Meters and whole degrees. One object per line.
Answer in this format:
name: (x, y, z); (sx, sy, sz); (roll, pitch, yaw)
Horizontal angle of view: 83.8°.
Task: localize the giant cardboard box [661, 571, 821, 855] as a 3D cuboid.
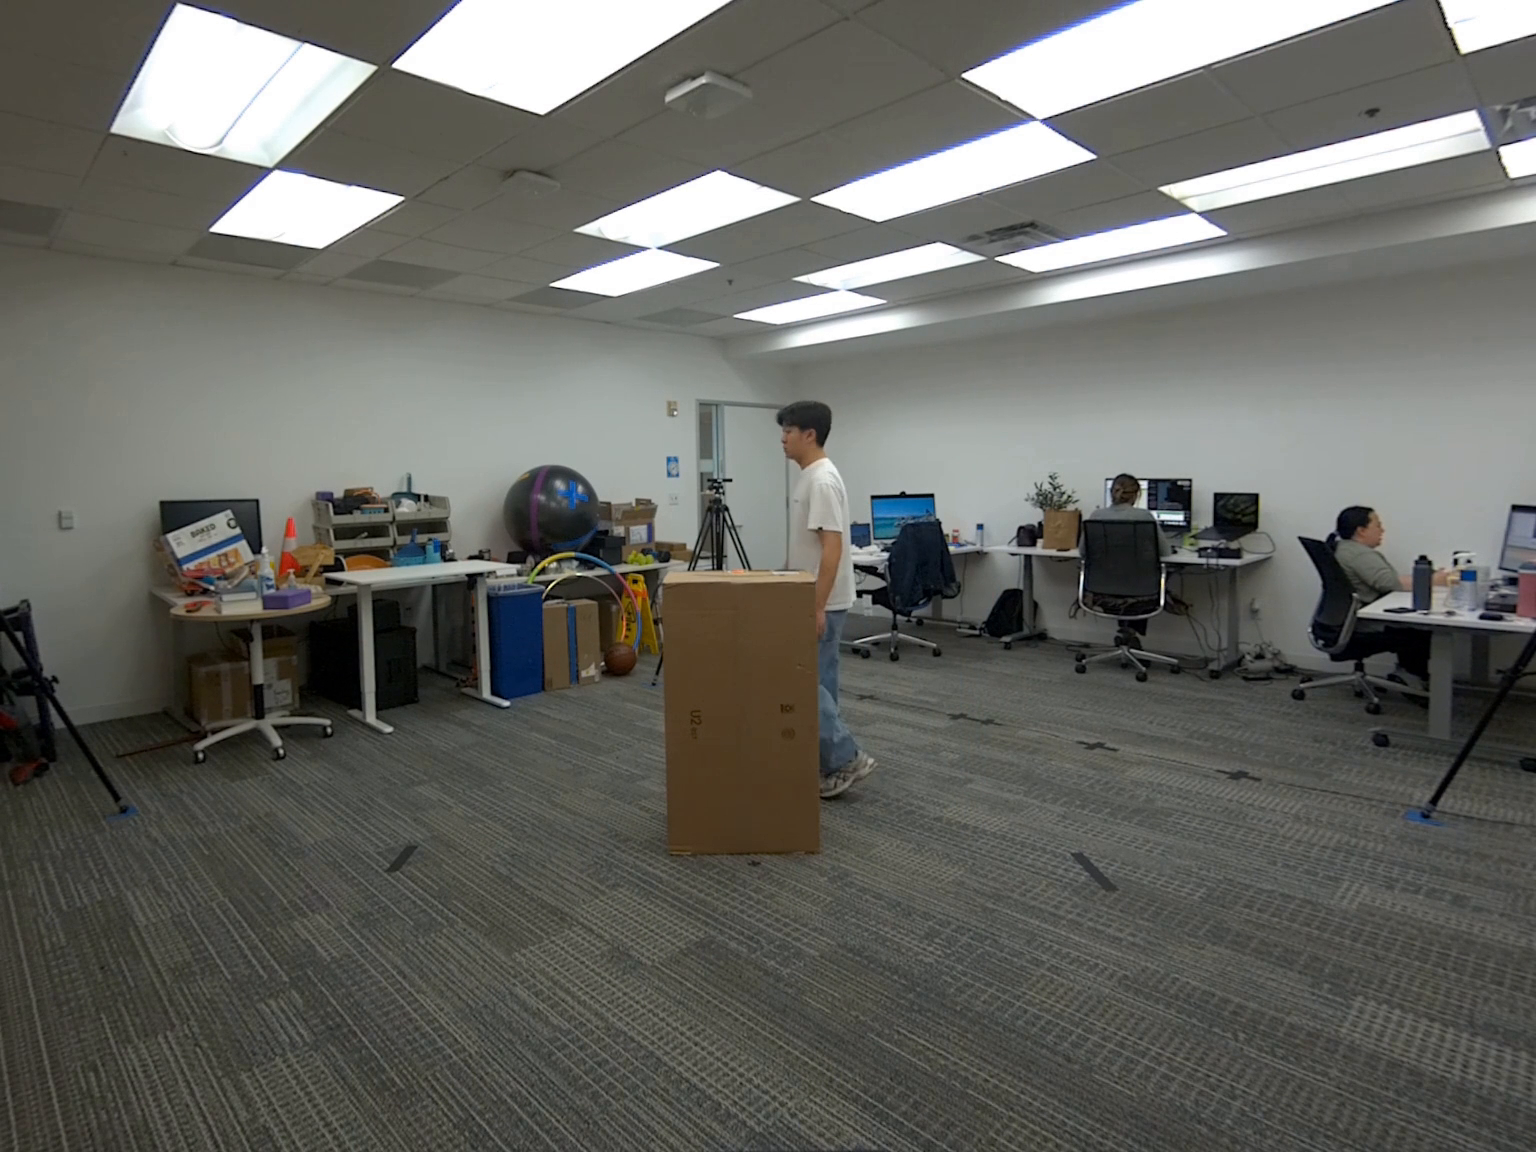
giant cardboard box: (-0.106, 0.506, 3.363); (0.577, 1.022, 0.428); (-1, 4, -1)
